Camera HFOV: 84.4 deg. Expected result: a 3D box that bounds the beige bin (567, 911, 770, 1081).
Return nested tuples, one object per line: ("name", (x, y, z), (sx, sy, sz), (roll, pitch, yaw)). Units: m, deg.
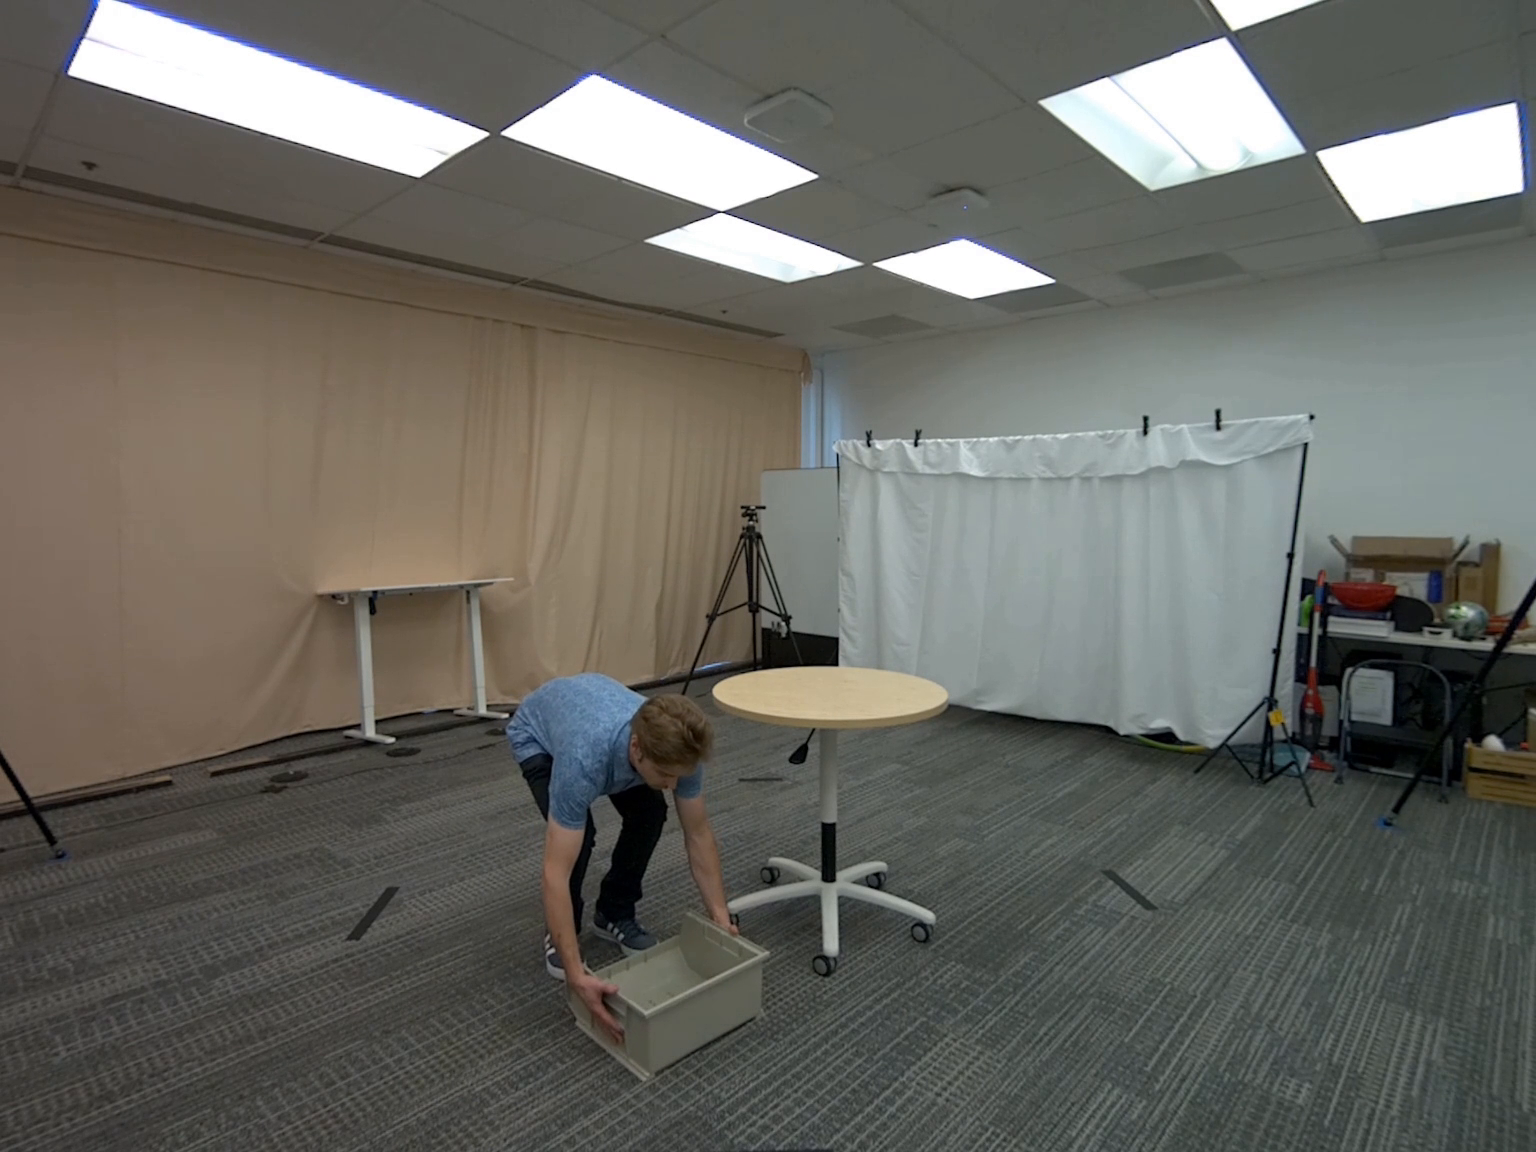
("beige bin", (-0.272, 1.116, 2.287), (0.409, 0.188, 0.390), (-4, 7, -43))
